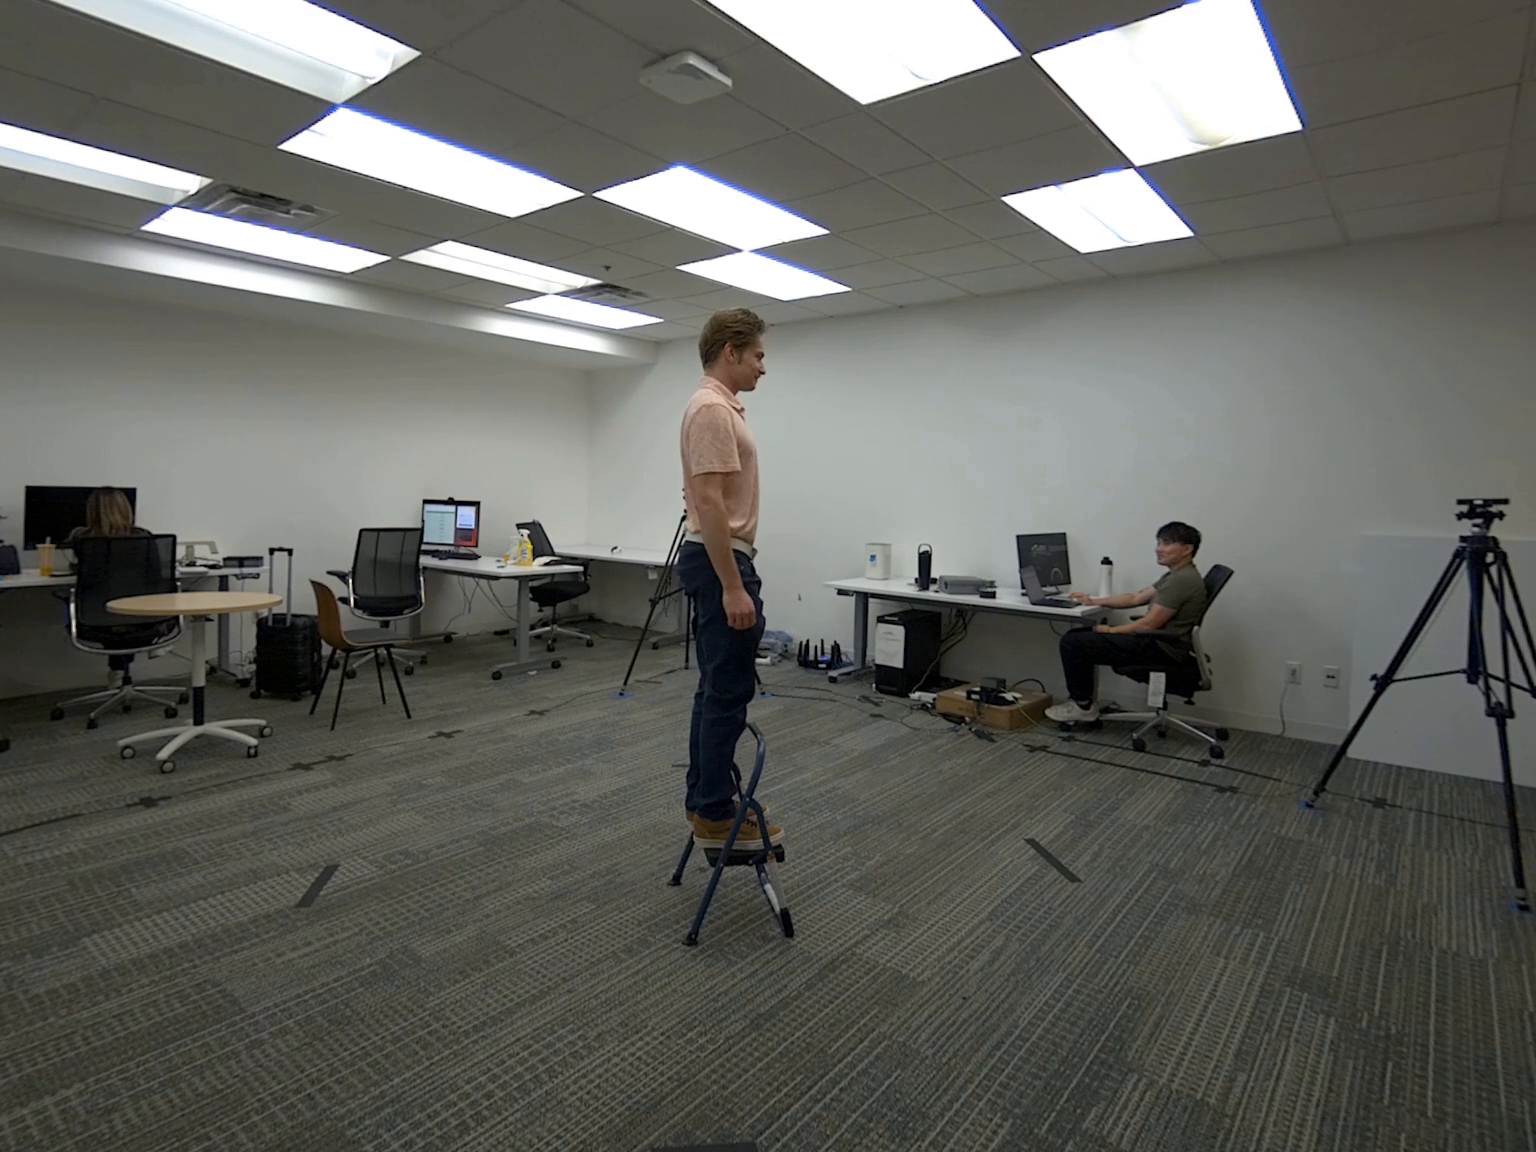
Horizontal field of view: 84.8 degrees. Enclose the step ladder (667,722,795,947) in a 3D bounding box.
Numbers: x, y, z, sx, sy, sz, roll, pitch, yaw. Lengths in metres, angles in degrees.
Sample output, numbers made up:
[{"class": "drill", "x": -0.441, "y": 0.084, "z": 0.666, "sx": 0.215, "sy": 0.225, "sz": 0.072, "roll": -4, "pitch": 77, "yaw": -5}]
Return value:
[{"class": "step ladder", "x": -0.130, "y": 0.801, "z": 2.803, "sx": 0.345, "sy": 0.604, "sz": 0.437, "roll": 0, "pitch": 4, "yaw": -12}]
